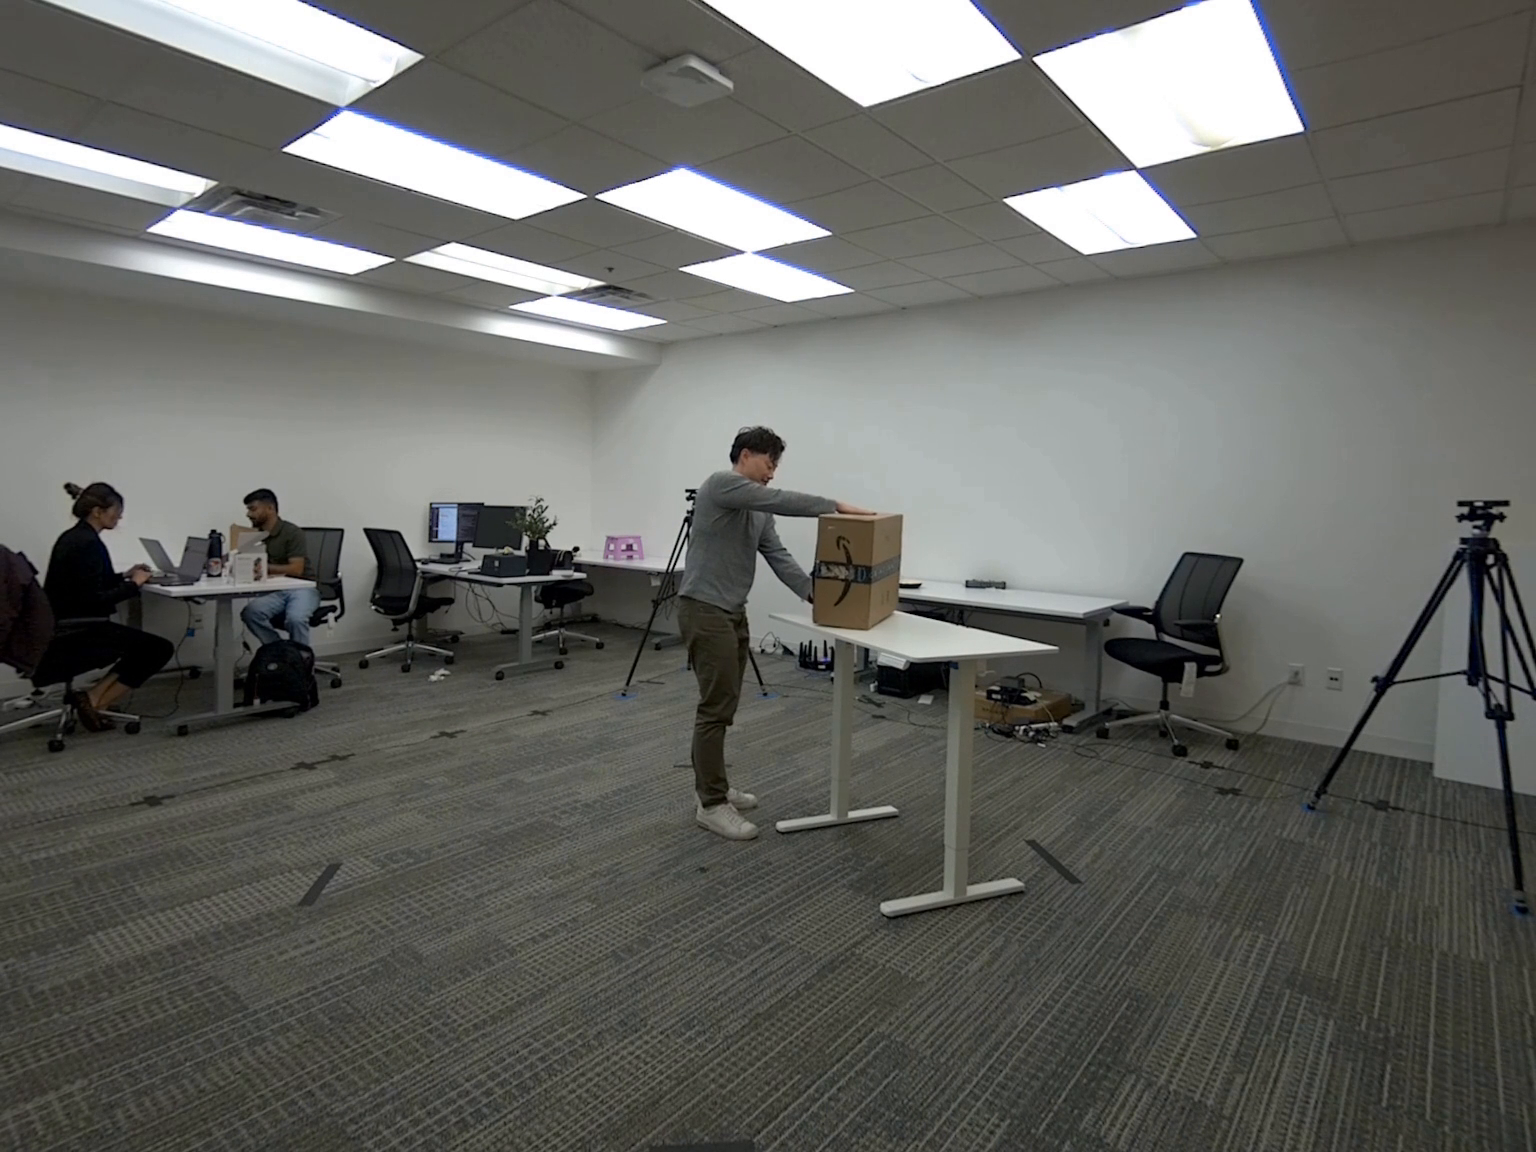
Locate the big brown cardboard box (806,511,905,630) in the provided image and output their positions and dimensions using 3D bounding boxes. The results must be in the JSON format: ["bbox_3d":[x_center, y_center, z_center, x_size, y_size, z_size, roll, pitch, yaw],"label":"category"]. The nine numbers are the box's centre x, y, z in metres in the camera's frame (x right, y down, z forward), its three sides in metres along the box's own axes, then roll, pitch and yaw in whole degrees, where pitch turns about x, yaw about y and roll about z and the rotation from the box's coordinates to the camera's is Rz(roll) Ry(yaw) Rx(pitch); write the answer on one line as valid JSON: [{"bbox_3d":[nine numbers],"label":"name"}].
[{"bbox_3d":[0.366,-0.047,3.430,0.239,0.416,0.578,4,6,21],"label":"big brown cardboard box"}]
